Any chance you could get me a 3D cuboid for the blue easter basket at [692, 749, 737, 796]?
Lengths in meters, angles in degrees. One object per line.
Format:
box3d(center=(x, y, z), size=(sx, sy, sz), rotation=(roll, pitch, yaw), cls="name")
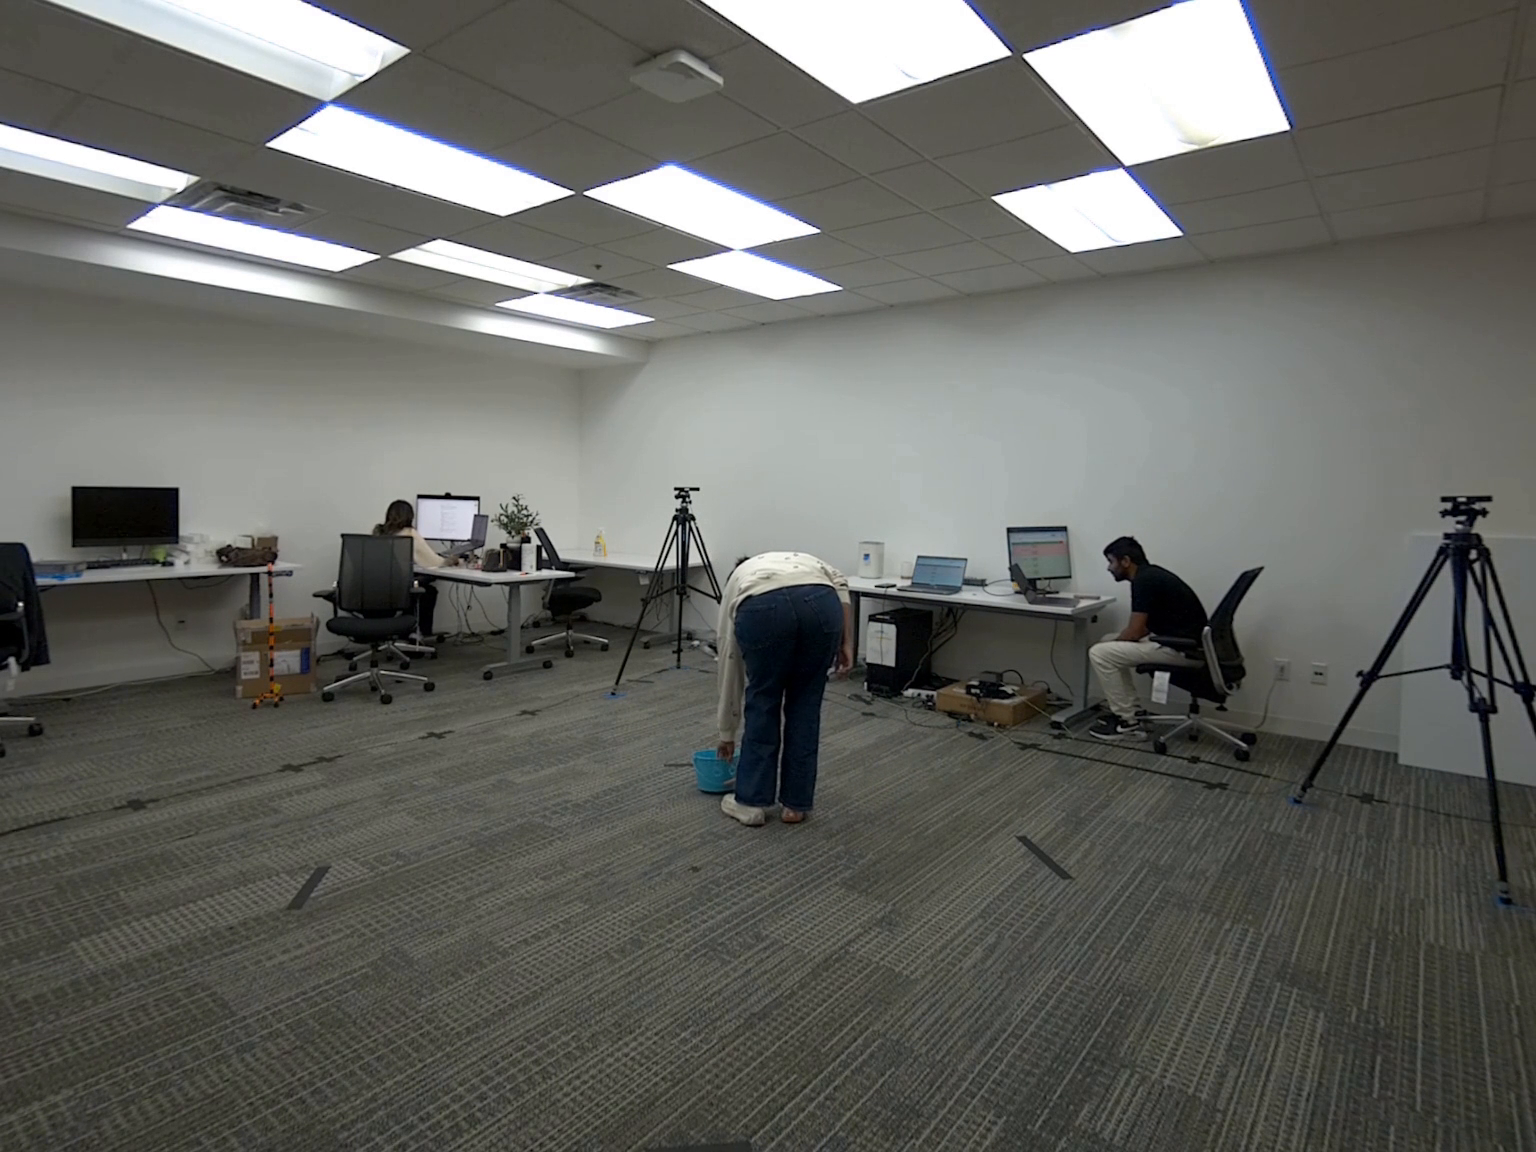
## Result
box3d(center=(-0.250, 0.895, 3.948), size=(0.243, 0.156, 0.243), rotation=(-3, -1, -2), cls="blue easter basket")
